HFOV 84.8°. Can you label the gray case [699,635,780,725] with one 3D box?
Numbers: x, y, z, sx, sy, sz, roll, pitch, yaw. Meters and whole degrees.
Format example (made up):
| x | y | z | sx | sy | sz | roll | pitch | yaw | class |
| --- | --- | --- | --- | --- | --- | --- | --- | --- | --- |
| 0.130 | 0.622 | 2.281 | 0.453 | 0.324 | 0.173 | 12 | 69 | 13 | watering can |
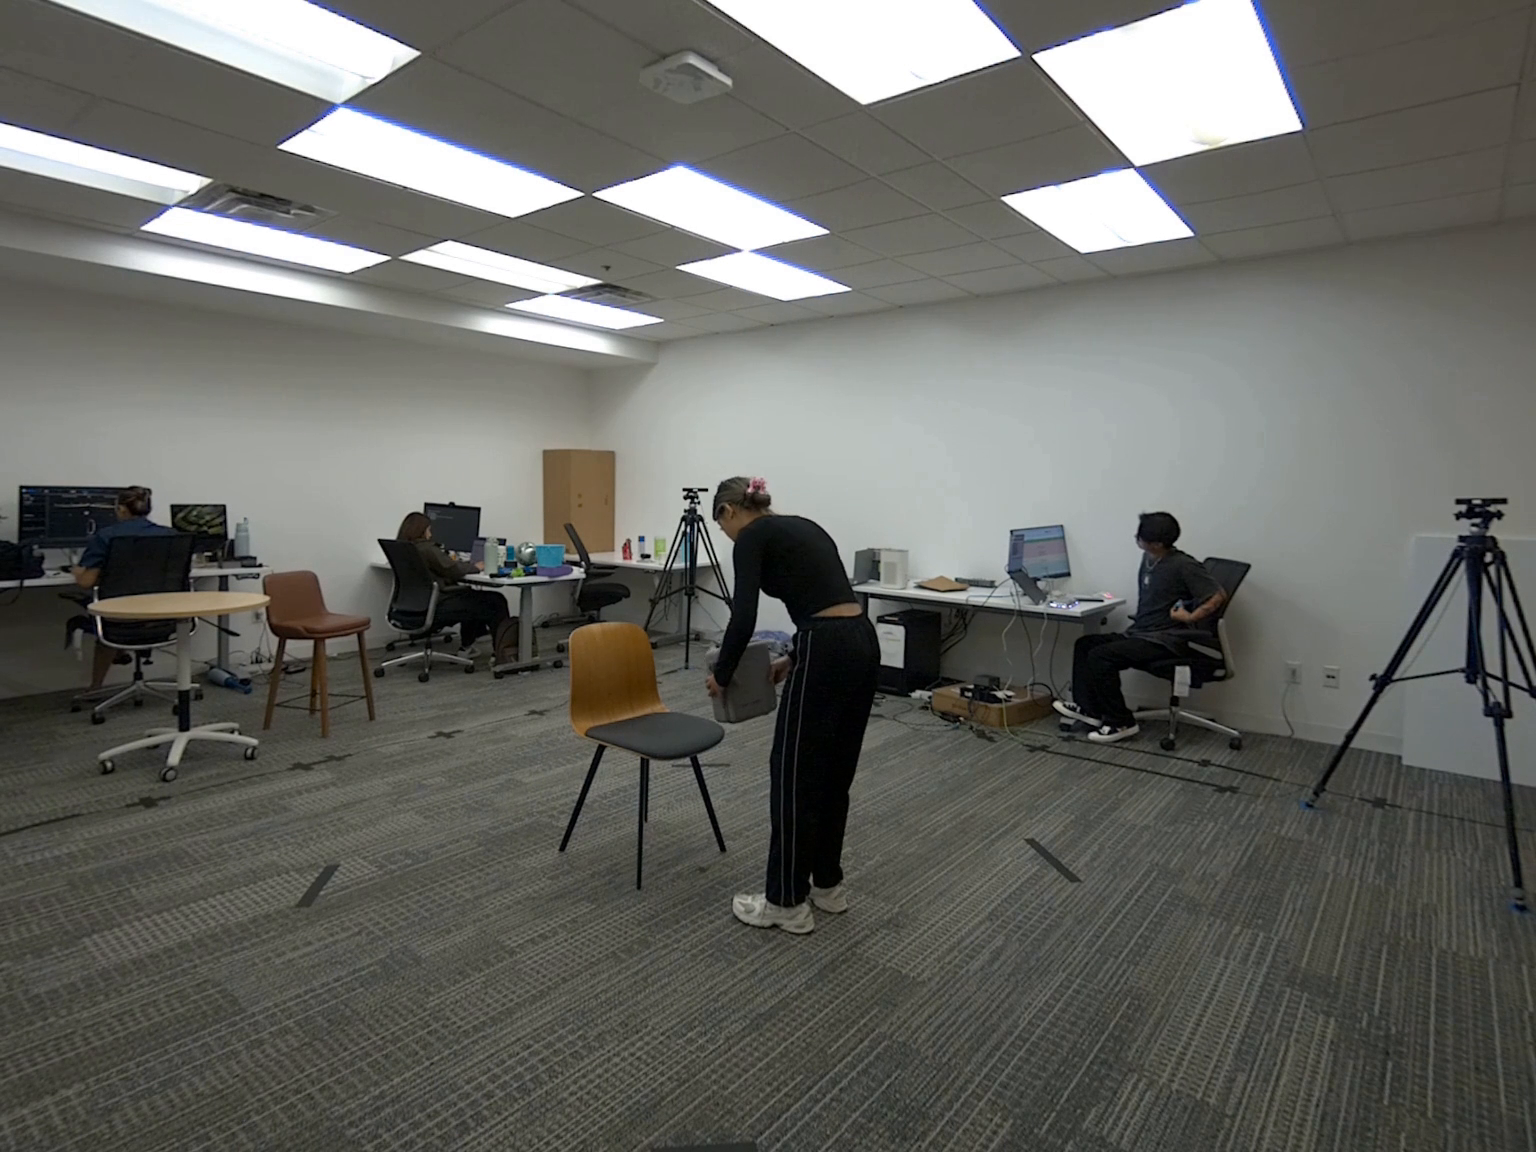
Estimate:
| x | y | z | sx | sy | sz | roll | pitch | yaw | class |
| --- | --- | --- | --- | --- | --- | --- | --- | --- | --- |
| -0.097 | 0.357 | 2.933 | 0.107 | 0.262 | 0.249 | -15 | -7 | 39 | gray case |
